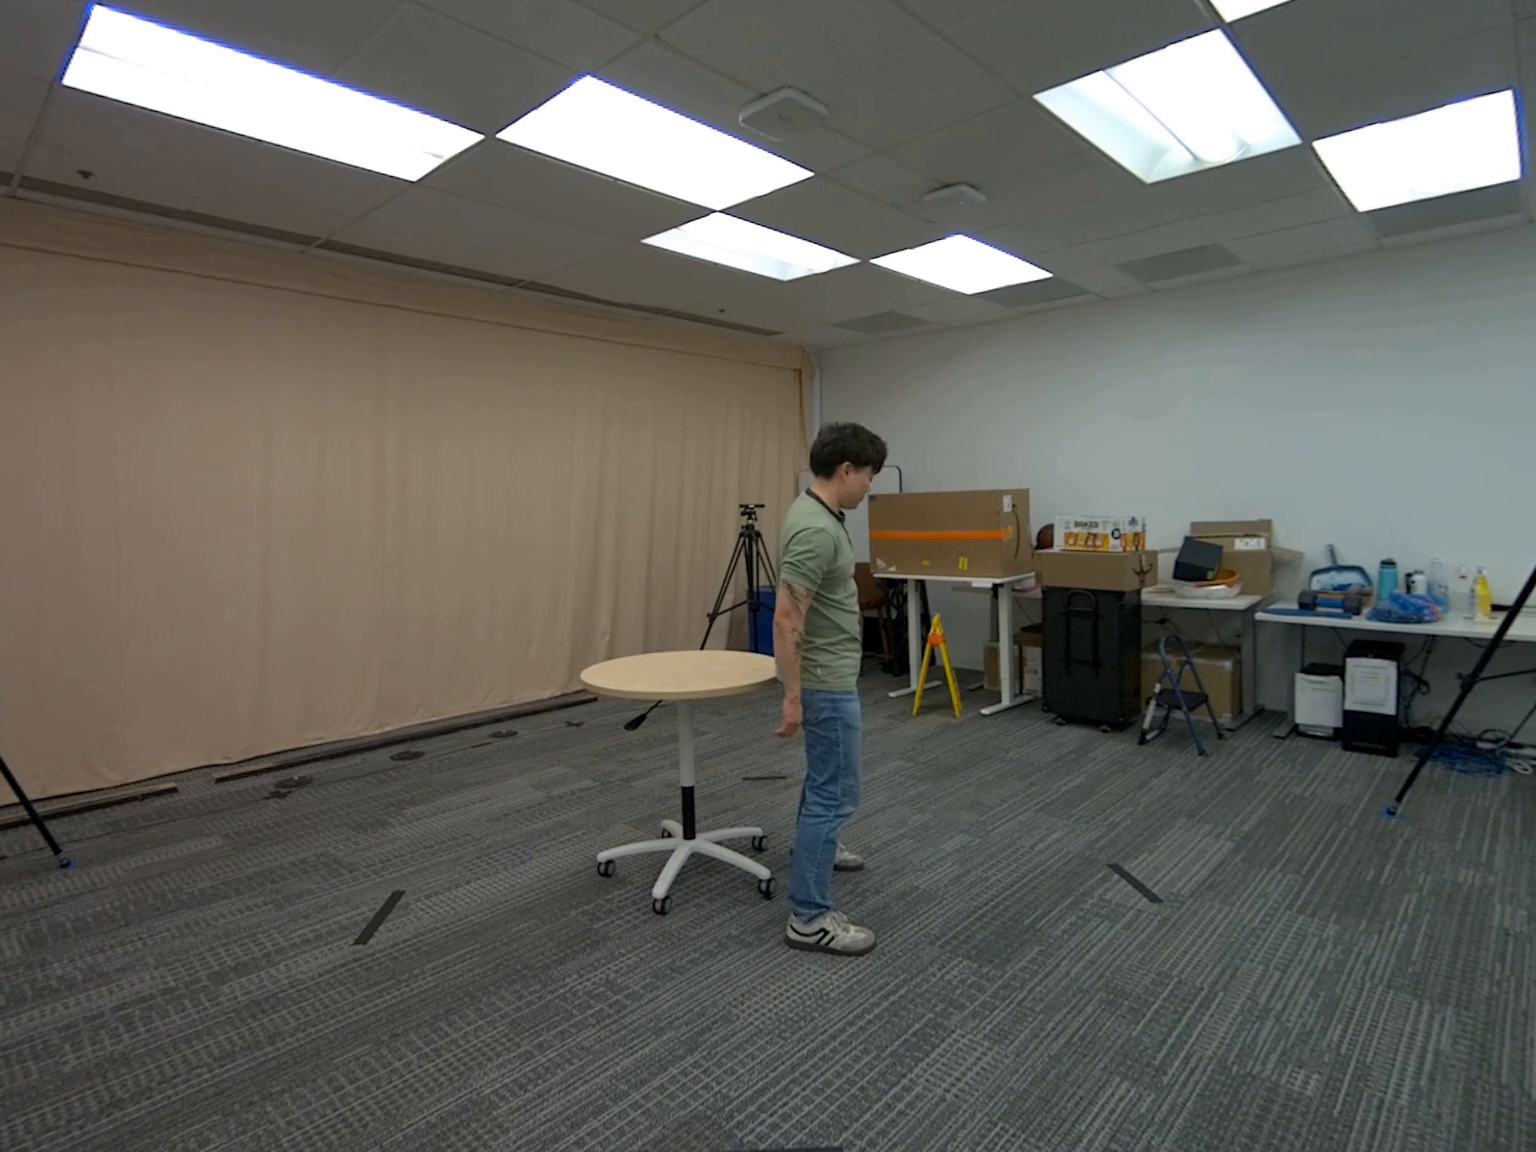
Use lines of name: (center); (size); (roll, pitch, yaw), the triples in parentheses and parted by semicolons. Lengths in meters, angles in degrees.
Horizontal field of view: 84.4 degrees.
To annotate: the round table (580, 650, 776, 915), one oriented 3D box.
round table: (-0.298, 0.739, 3.166); (0.763, 0.792, 0.766); (-2, 4, -2)
